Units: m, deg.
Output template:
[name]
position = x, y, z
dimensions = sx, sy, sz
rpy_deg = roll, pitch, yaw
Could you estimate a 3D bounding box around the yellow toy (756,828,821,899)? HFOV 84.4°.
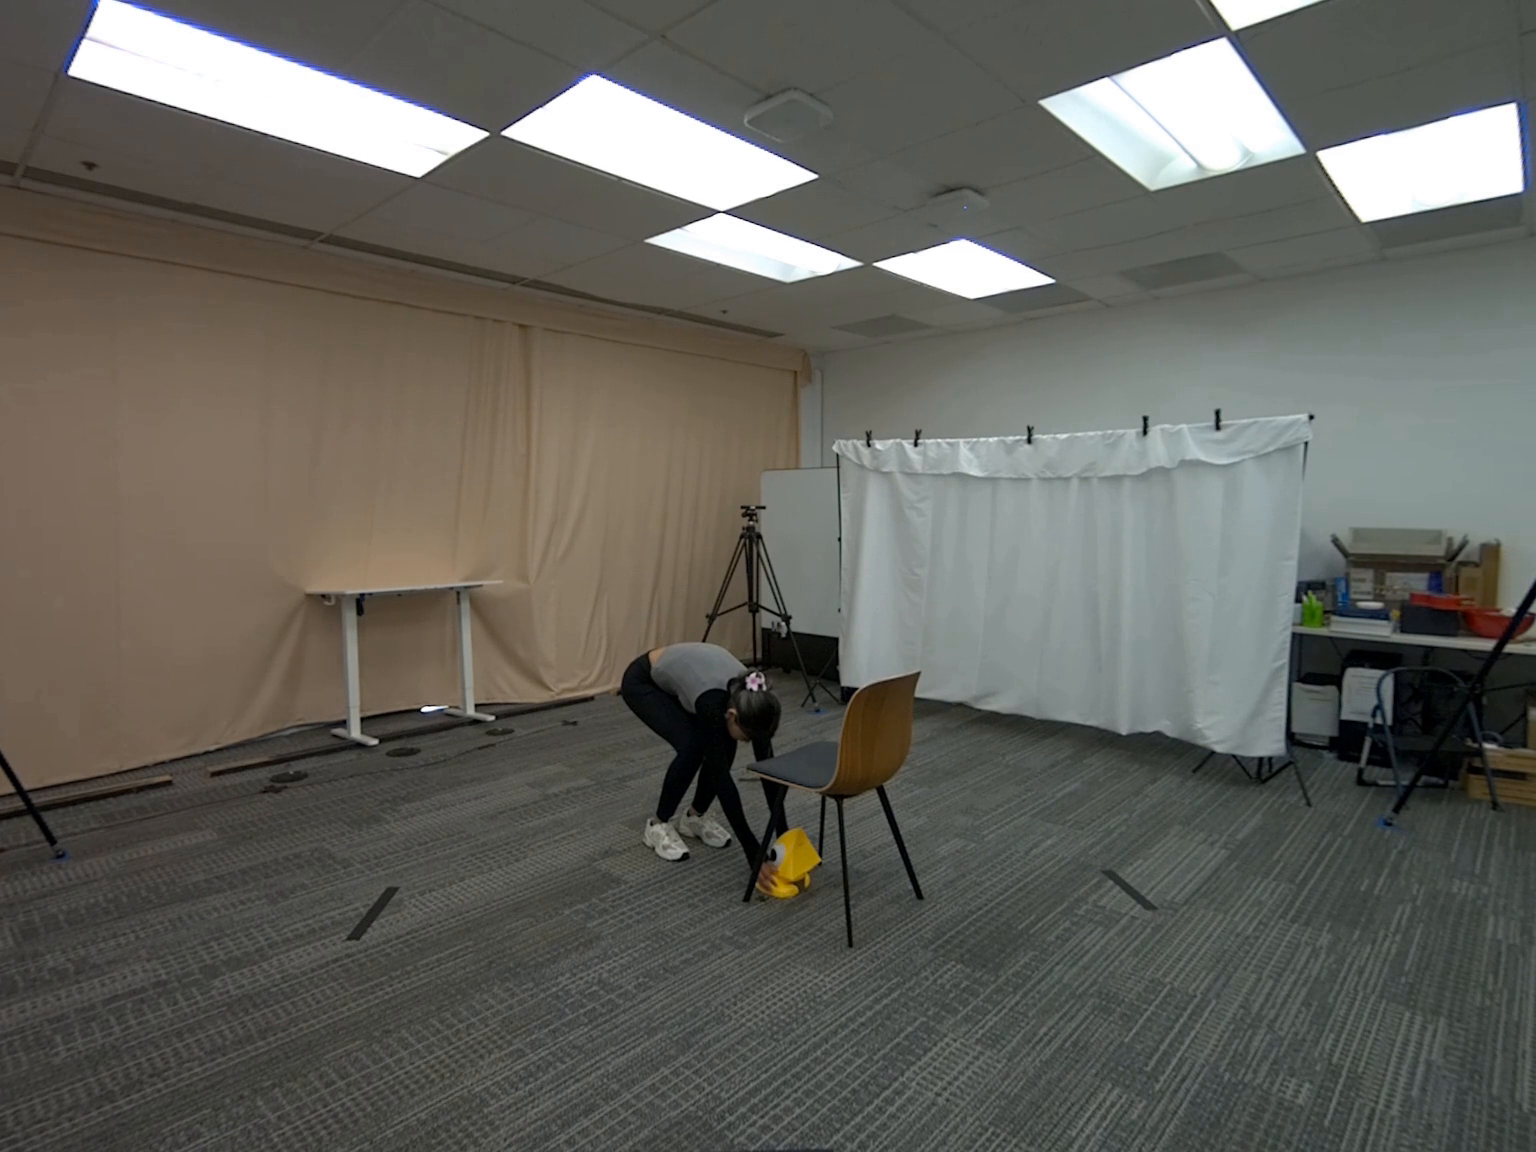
[yellow toy]
position = 0.064, 1.025, 3.082
dimensions = 0.199, 0.230, 0.199
rpy_deg = 3, 6, 36
